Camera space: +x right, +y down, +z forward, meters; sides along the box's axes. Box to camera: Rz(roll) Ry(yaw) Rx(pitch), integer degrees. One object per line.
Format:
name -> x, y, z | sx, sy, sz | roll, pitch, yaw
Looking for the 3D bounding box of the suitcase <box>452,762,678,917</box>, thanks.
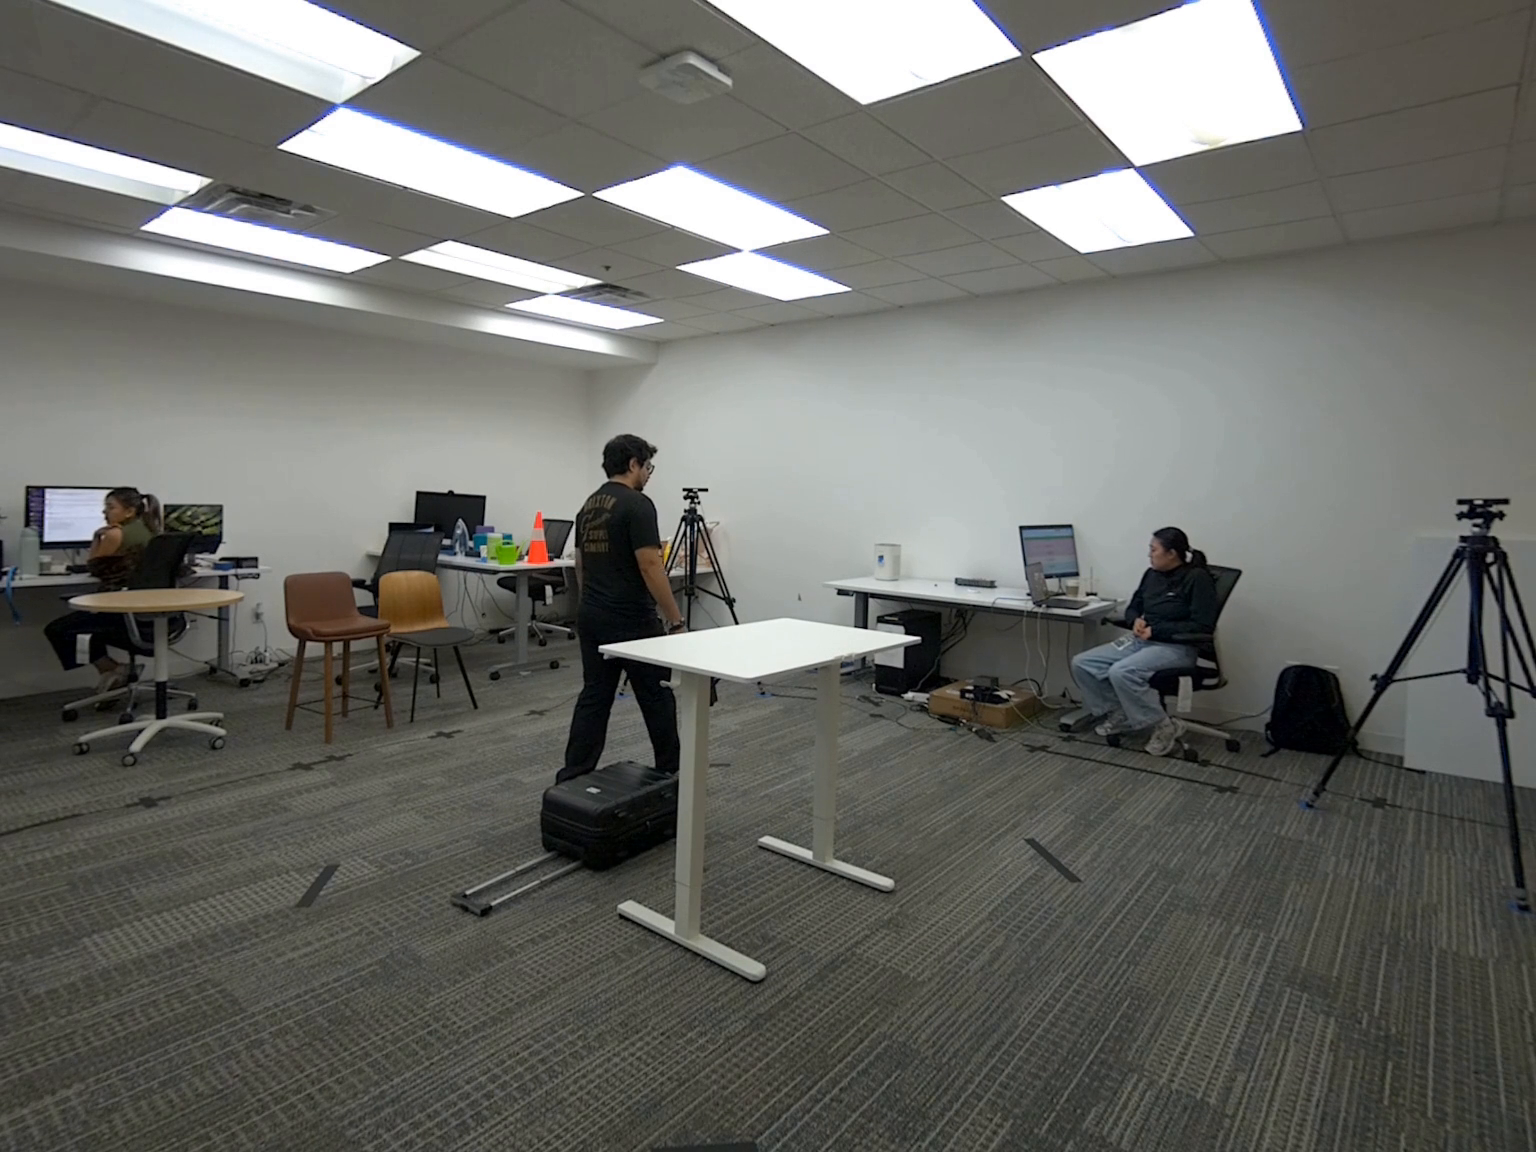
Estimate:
suitcase -> -0.720, 0.933, 3.163 | 0.396, 0.256, 0.951 | 5, 6, 34
